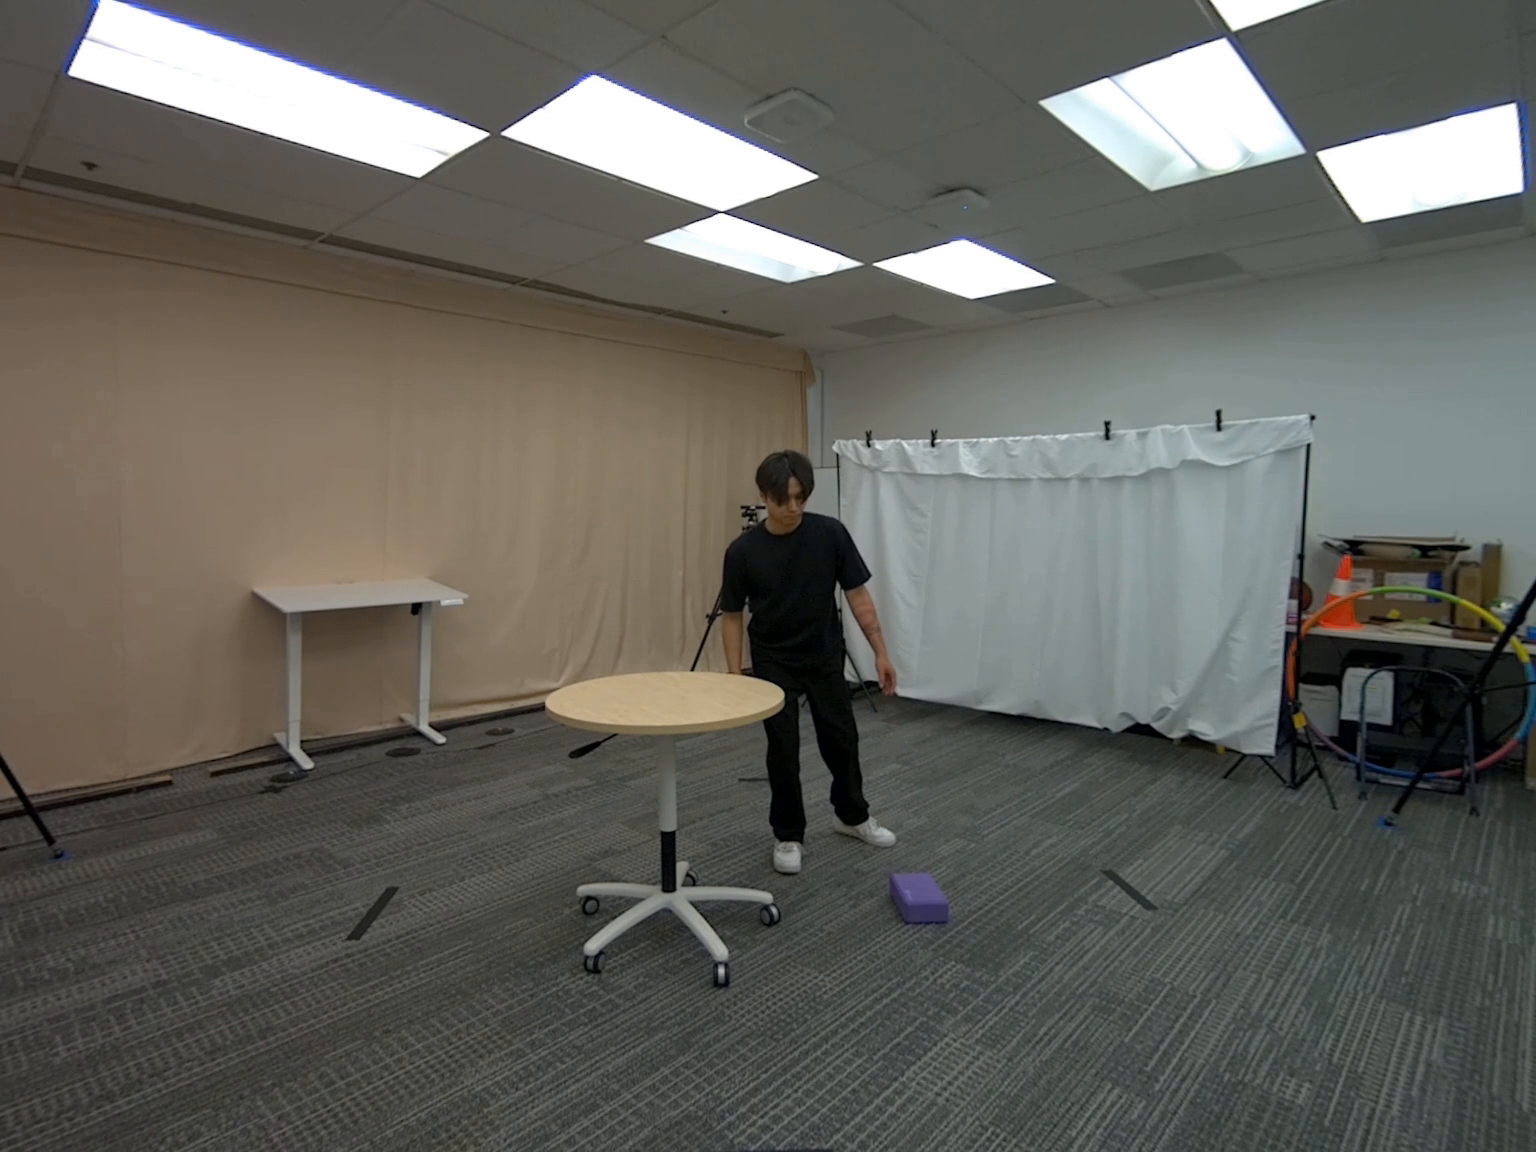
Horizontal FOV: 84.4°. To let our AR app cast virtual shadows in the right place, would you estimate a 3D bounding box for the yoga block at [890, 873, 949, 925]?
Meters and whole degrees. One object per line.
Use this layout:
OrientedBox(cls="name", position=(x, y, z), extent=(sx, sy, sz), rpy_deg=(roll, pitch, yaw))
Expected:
OrientedBox(cls="yoga block", position=(0.525, 1.109, 2.905), extent=(0.149, 0.076, 0.230), rpy_deg=(0, 4, -3))
